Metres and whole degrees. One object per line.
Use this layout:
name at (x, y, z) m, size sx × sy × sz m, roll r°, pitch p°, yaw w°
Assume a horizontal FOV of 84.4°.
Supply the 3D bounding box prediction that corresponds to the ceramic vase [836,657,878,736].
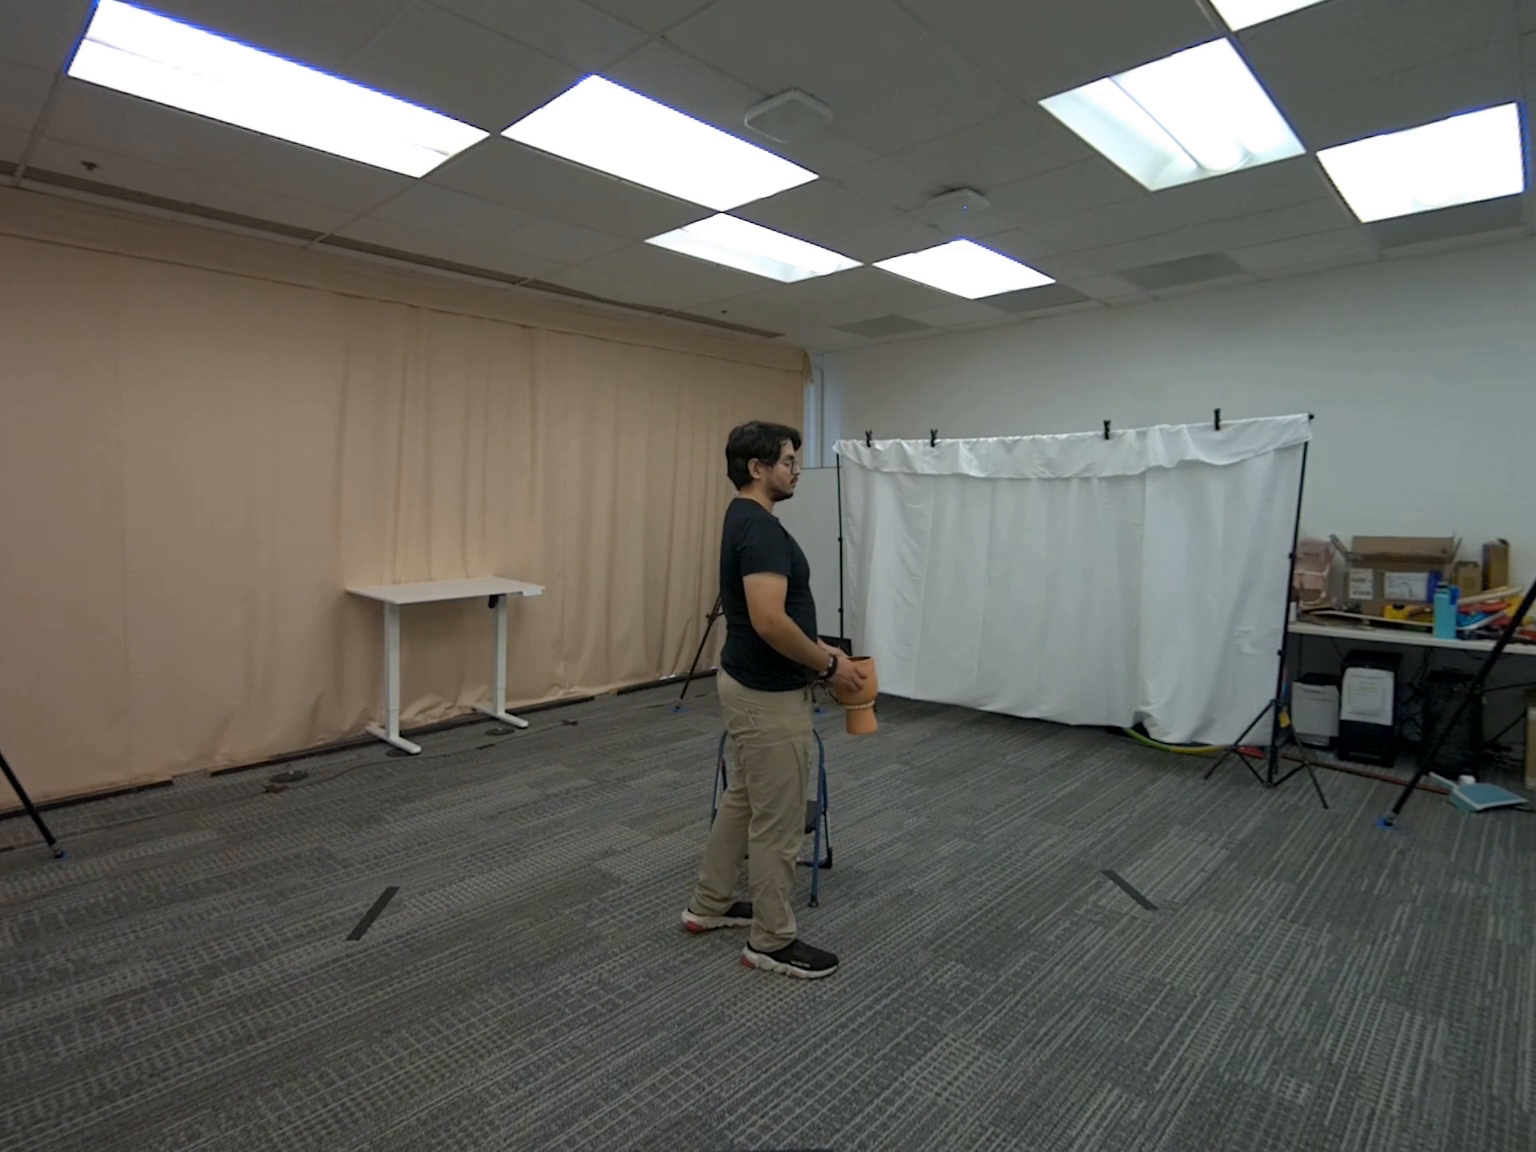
ceramic vase at (0.275, 0.367, 2.583) m, size 0.138 × 0.220 × 0.154 m, roll -7°, pitch 1°, yaw 33°
